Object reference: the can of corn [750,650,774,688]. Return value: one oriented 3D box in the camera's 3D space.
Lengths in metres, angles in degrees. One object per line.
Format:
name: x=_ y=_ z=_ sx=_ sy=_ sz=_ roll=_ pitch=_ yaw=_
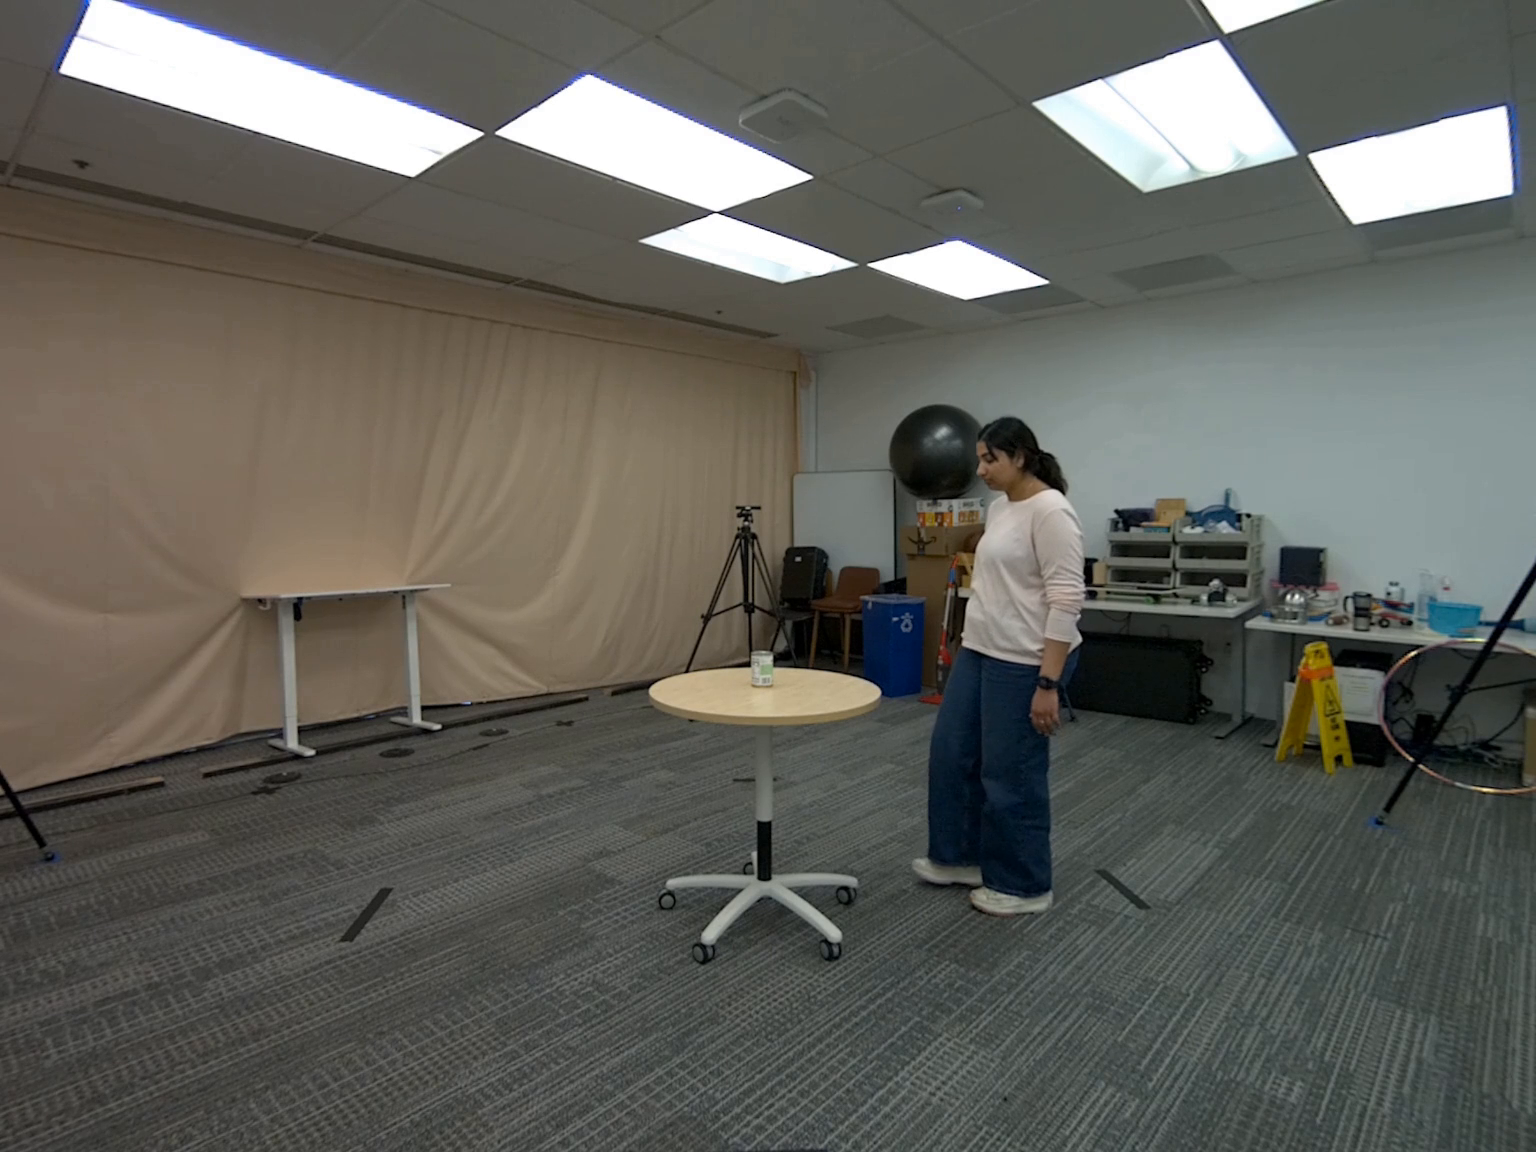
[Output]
can of corn: x=-0.015 y=0.318 z=2.849 sx=0.074 sy=0.111 sz=0.074 roll=-1 pitch=2 yaw=-2
